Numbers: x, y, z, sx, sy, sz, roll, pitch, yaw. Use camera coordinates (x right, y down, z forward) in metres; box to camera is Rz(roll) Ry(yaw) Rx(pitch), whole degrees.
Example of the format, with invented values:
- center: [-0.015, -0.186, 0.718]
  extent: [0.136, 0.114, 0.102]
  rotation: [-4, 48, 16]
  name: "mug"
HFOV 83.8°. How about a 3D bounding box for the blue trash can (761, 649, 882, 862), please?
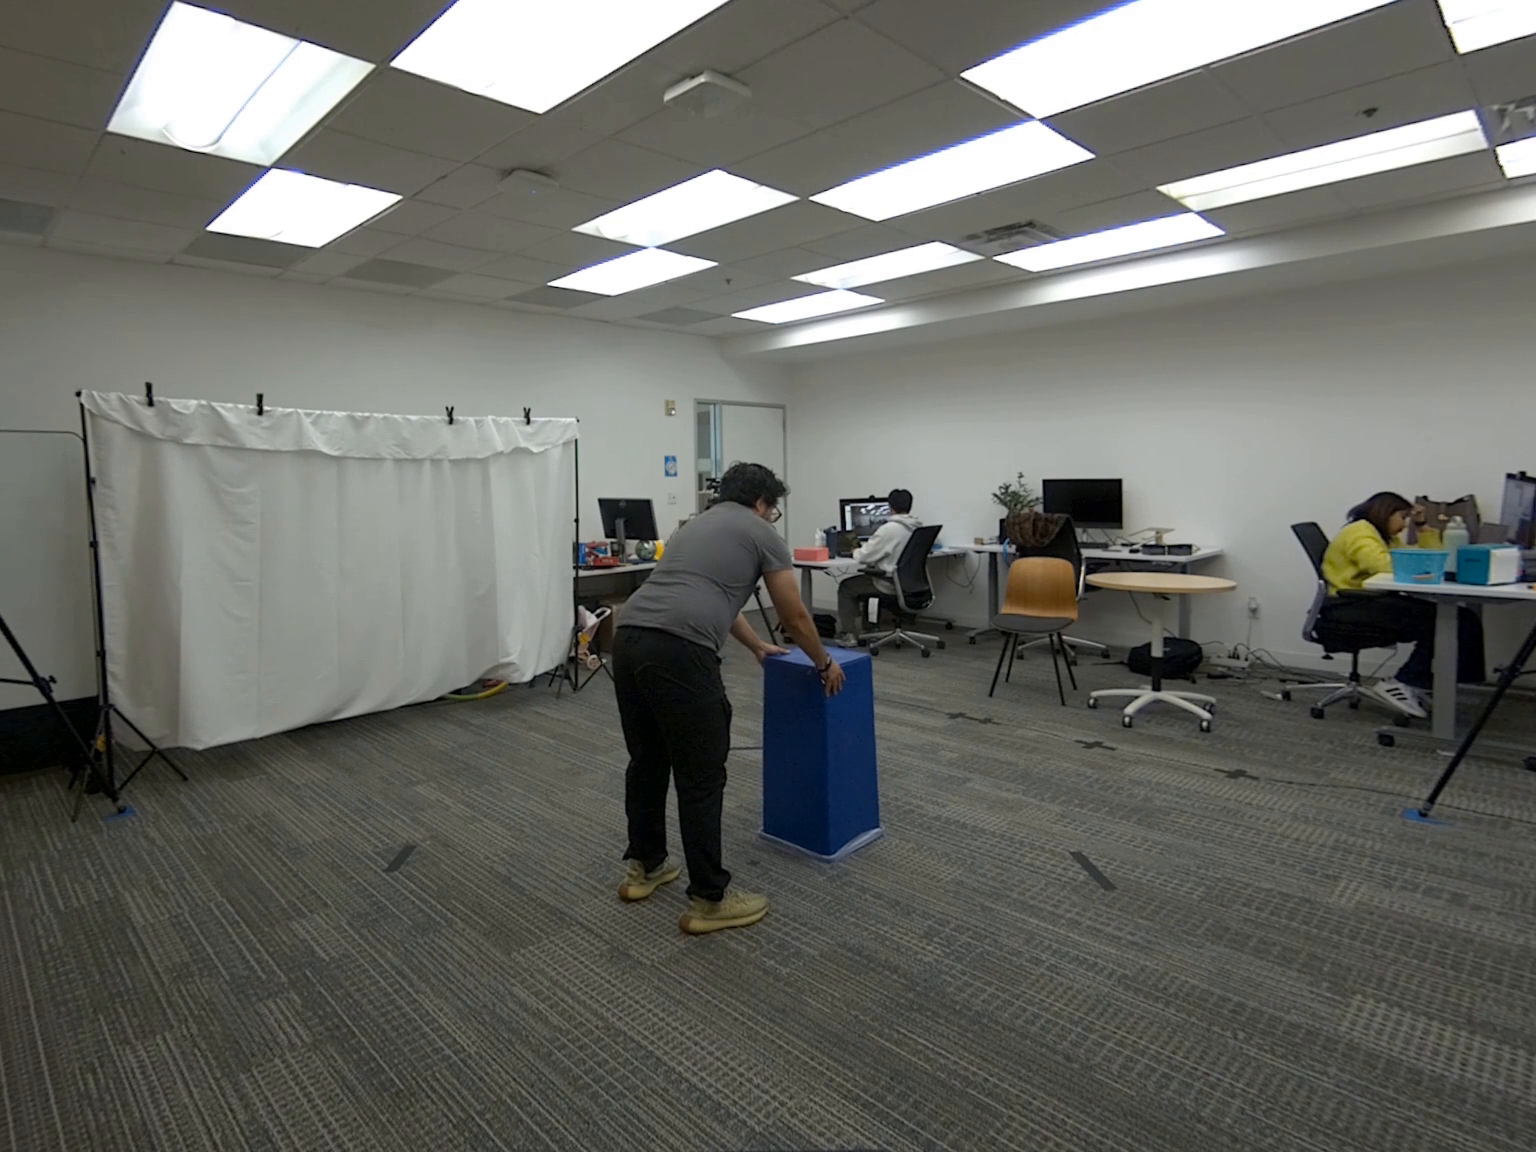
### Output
- center: [0.206, 0.657, 3.303]
  extent: [0.386, 0.710, 0.368]
  rotation: [4, 8, 44]
  name: "blue trash can"
